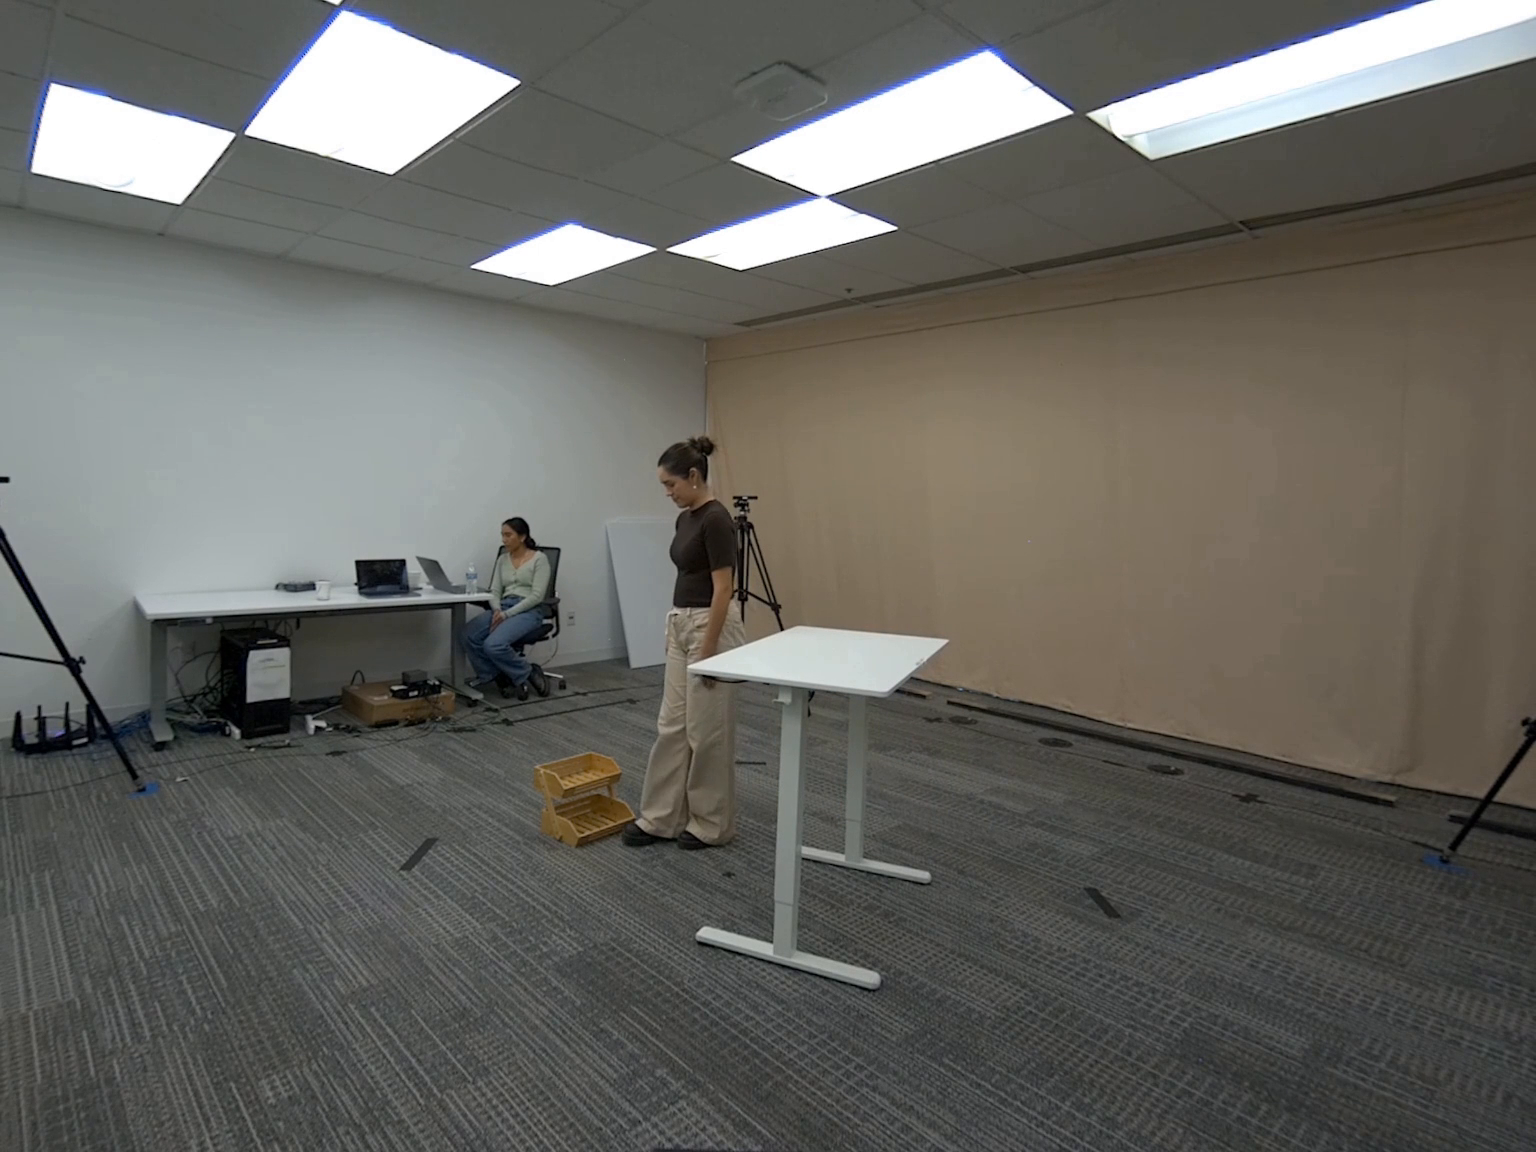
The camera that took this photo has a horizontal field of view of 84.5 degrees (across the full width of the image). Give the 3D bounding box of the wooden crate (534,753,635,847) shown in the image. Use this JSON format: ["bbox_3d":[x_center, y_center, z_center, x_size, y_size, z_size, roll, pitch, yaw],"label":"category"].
[{"bbox_3d":[-0.765,0.915,3.509,0.309,0.273,0.317,4,5,40],"label":"wooden crate"}]
